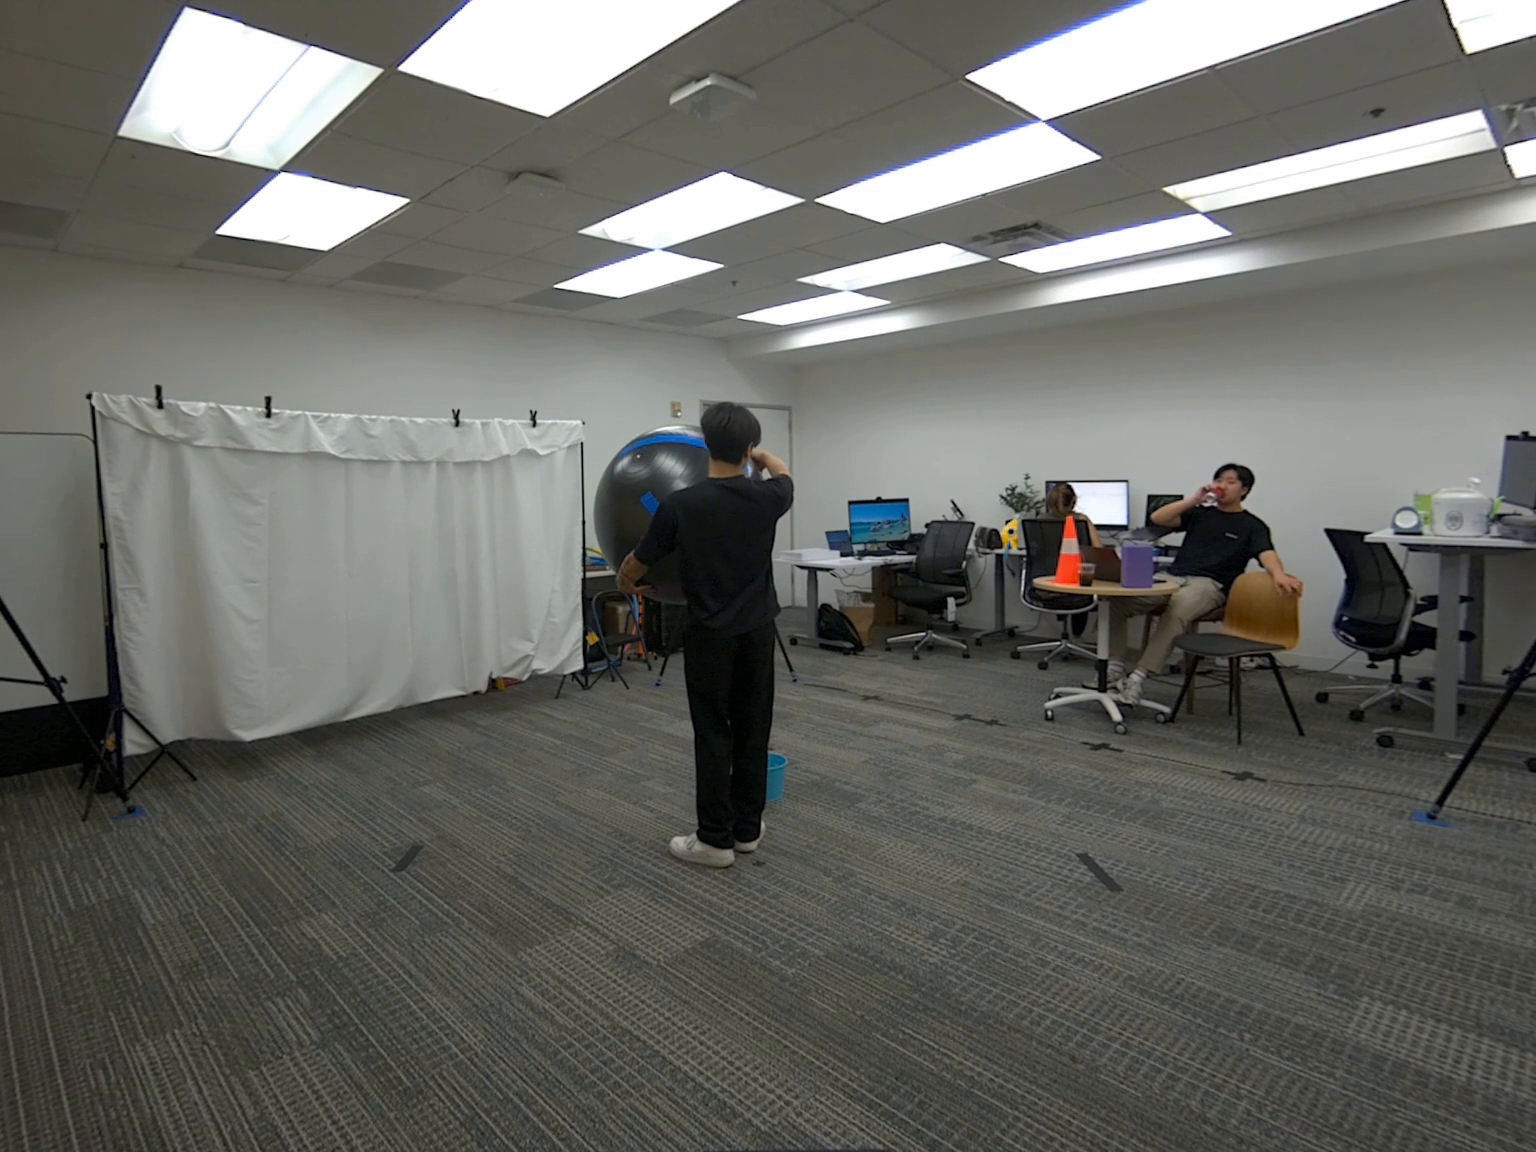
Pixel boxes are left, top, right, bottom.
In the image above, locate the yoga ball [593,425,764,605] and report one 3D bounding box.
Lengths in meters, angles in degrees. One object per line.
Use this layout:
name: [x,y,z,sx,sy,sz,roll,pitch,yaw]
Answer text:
yoga ball: [-0.368,-0.257,3.650,0.757,0.755,0.762,-1,5,-2]
